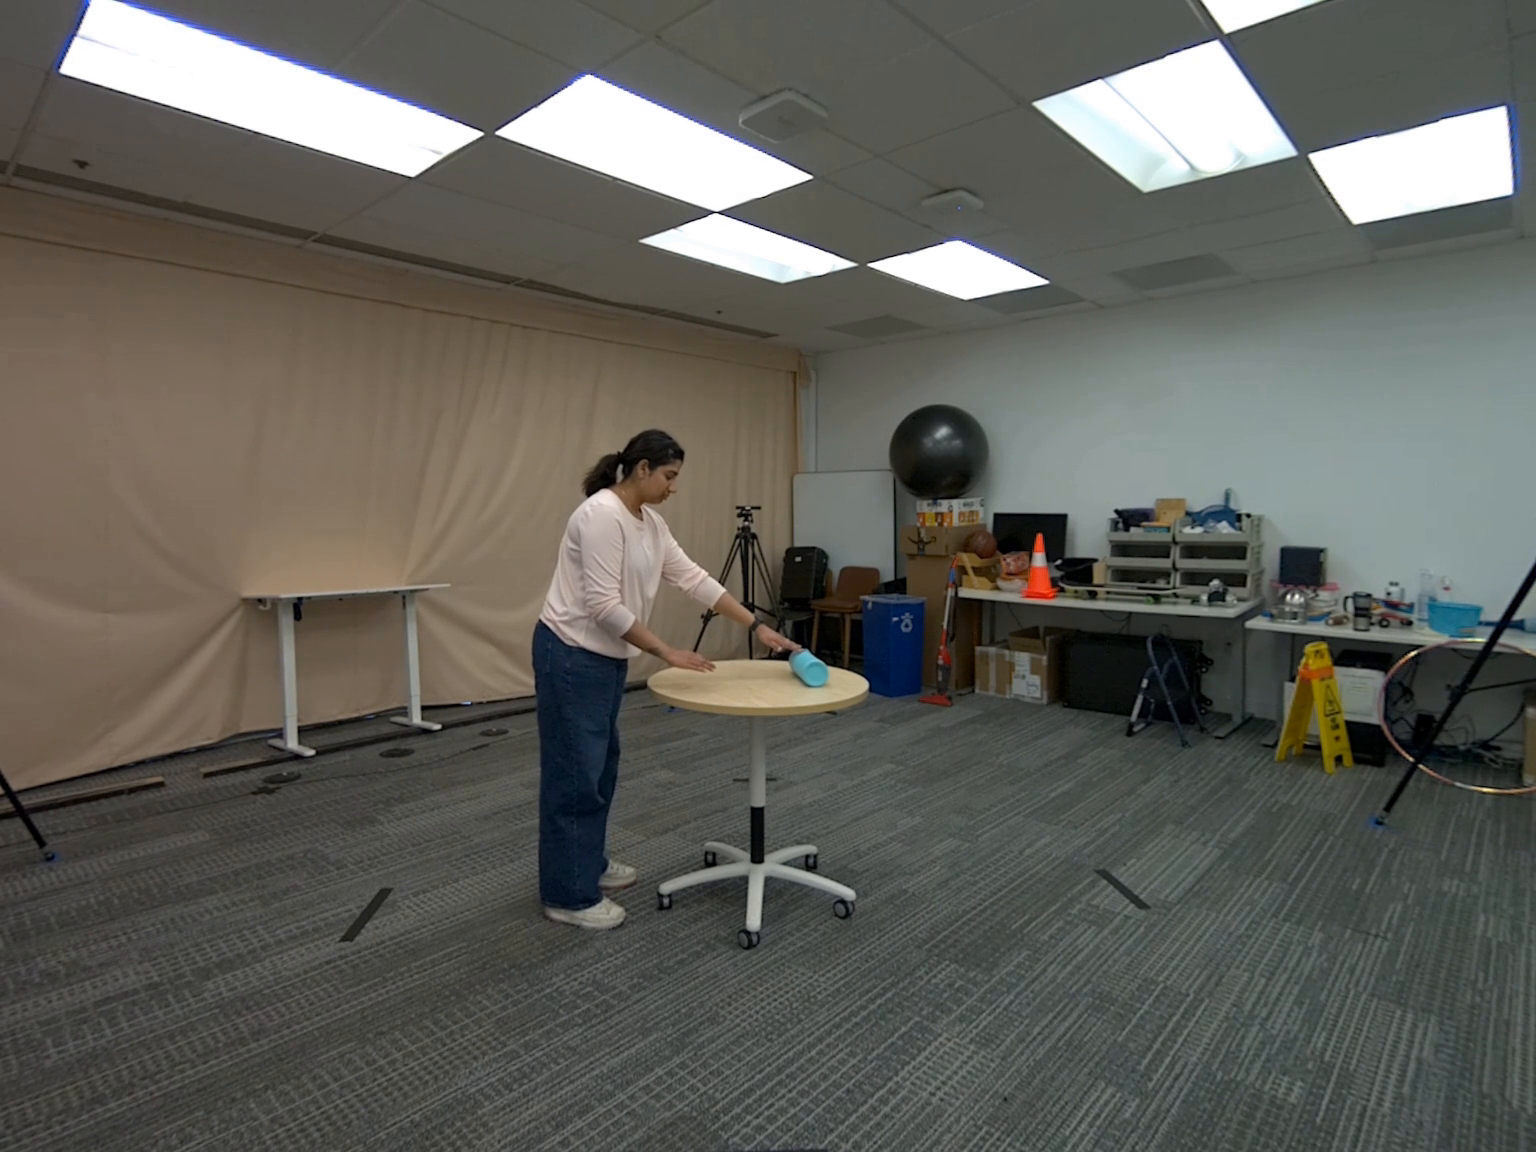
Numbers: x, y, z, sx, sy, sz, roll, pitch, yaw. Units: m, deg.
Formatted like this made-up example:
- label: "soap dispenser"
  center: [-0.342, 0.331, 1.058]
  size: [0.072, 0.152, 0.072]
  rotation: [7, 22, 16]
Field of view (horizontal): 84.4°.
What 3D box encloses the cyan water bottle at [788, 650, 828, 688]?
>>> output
- label: "cyan water bottle"
  center: [0.136, 0.319, 2.954]
  size: [0.092, 0.092, 0.286]
  rotation: [-1, 5, -8]
